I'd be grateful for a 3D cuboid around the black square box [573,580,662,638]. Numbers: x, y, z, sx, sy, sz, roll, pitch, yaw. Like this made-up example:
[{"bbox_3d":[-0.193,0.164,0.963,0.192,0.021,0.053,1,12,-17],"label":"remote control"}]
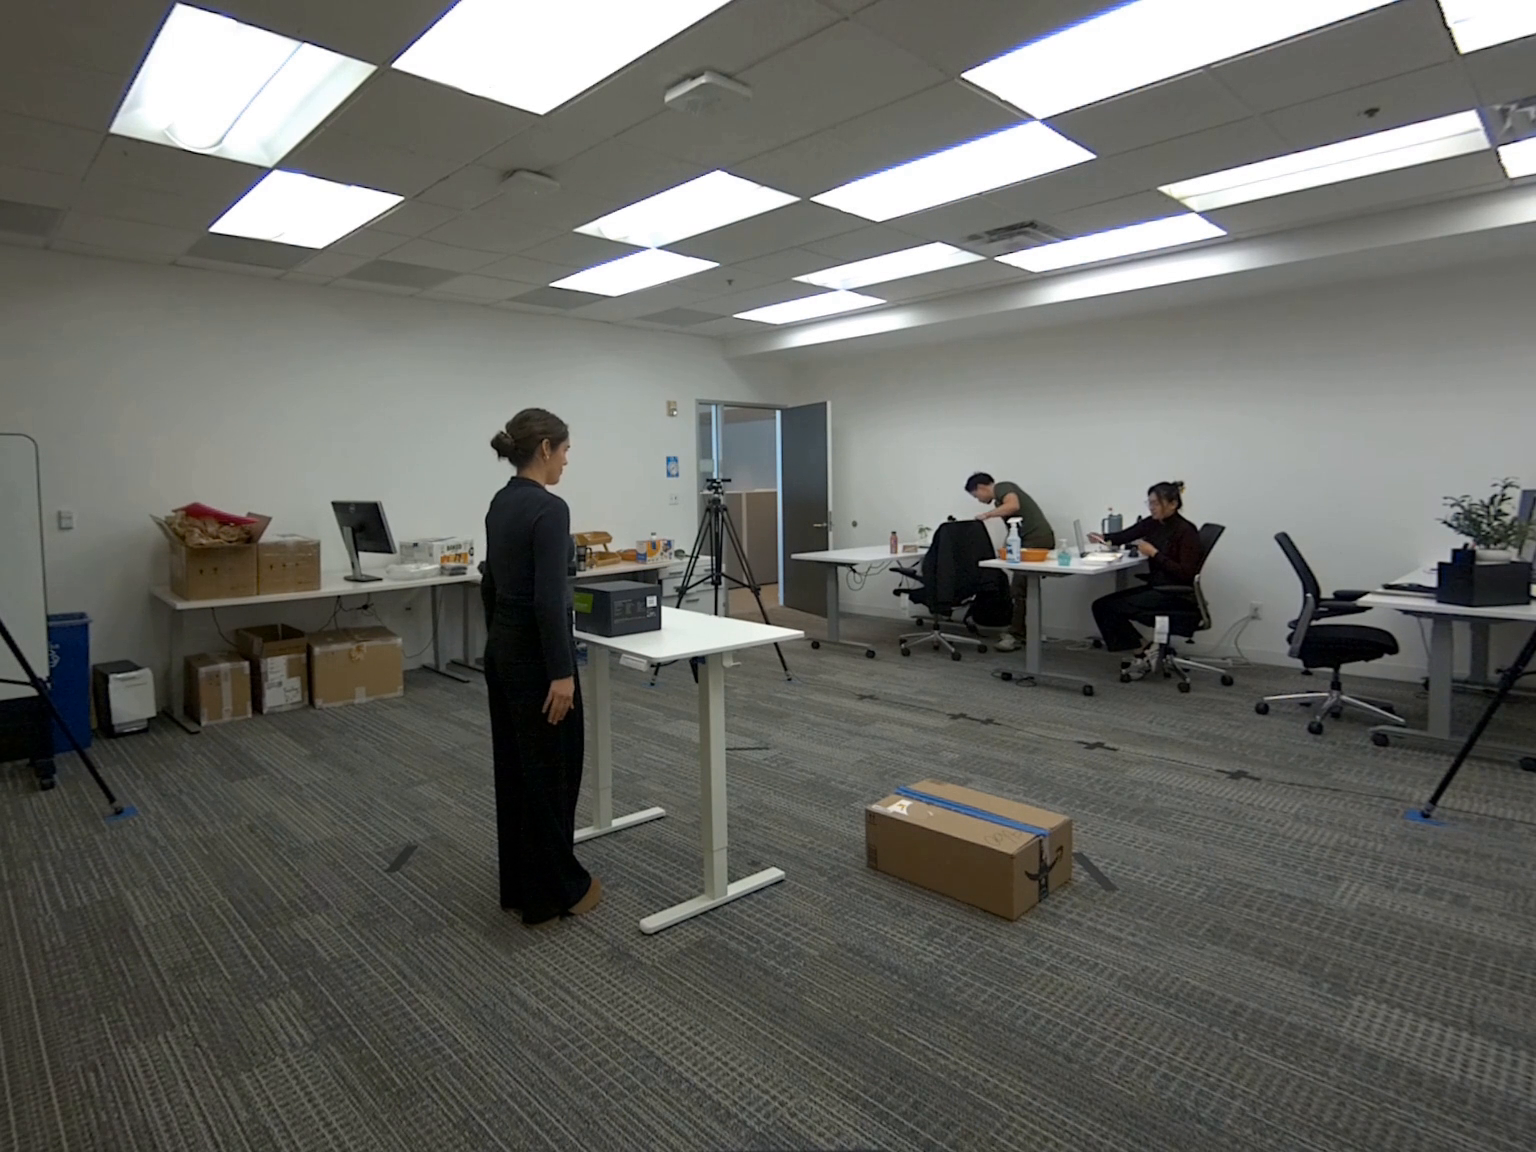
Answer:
[{"bbox_3d":[-0.527,0.109,2.961,0.211,0.155,0.235,-6,7,-43],"label":"black square box"}]
